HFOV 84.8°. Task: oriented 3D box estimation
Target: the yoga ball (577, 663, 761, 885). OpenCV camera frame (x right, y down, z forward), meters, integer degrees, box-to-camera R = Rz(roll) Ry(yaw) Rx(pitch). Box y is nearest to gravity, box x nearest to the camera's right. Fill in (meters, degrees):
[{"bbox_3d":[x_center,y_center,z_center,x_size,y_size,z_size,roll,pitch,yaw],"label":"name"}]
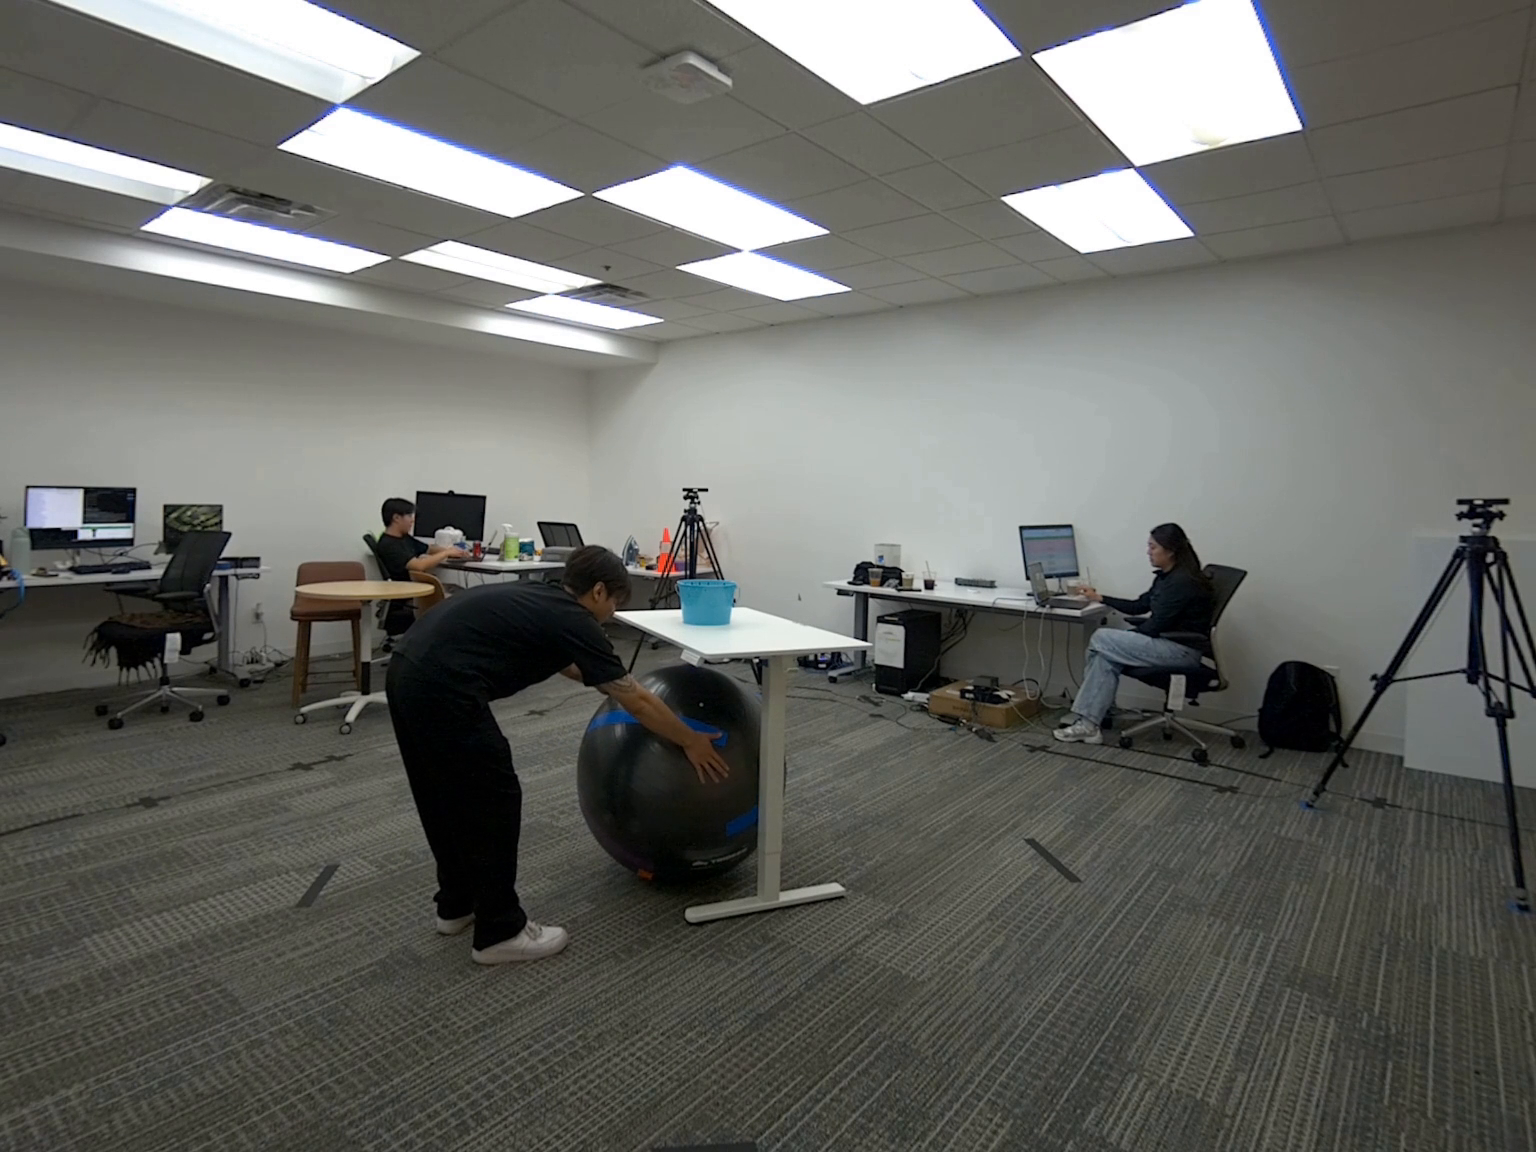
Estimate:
[{"bbox_3d":[-0.319,0.707,3.082,0.757,0.756,0.762,1,4,-2],"label":"yoga ball"}]
